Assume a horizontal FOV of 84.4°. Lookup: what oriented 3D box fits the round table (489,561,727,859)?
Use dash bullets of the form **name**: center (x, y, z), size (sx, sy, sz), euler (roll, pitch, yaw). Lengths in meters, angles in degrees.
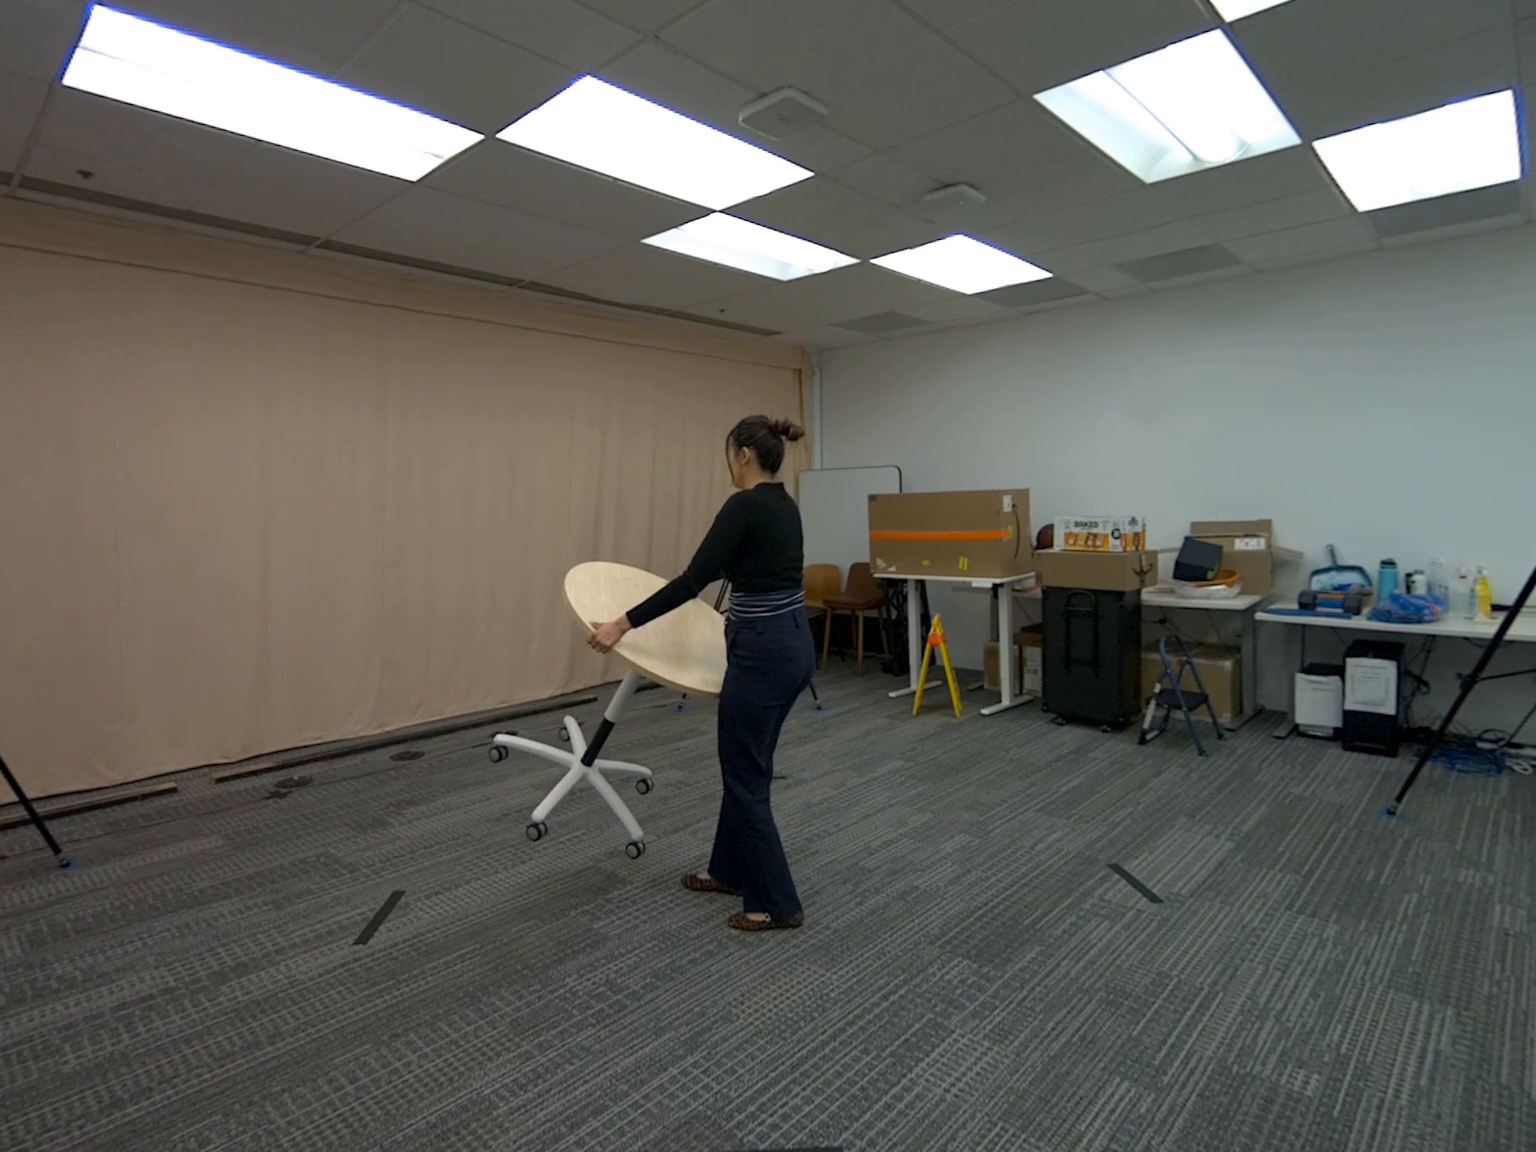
- **round table**: center (-0.565, 0.500, 3.116), size (0.755, 0.793, 0.774), euler (27, 17, -11)
